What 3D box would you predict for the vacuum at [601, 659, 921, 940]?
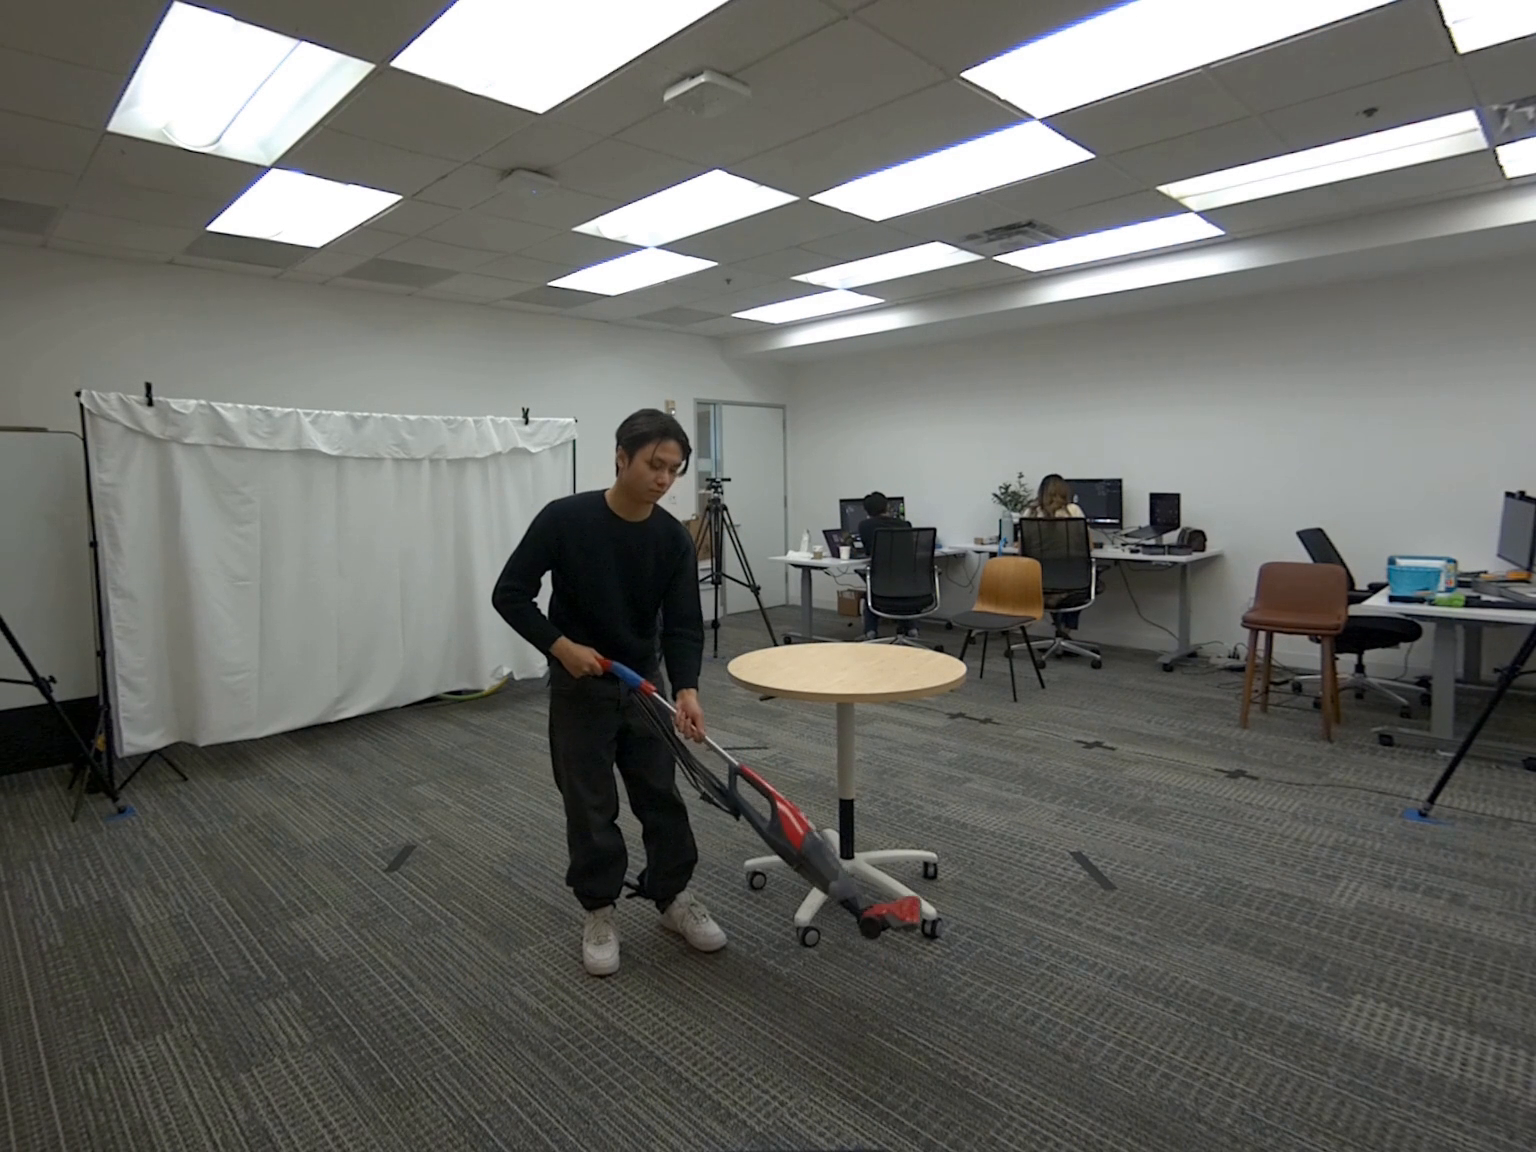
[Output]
[{"bbox_3d":[-0.098,0.529,2.238,1.073,0.144,0.247,36,-6,17],"label":"vacuum"}]
